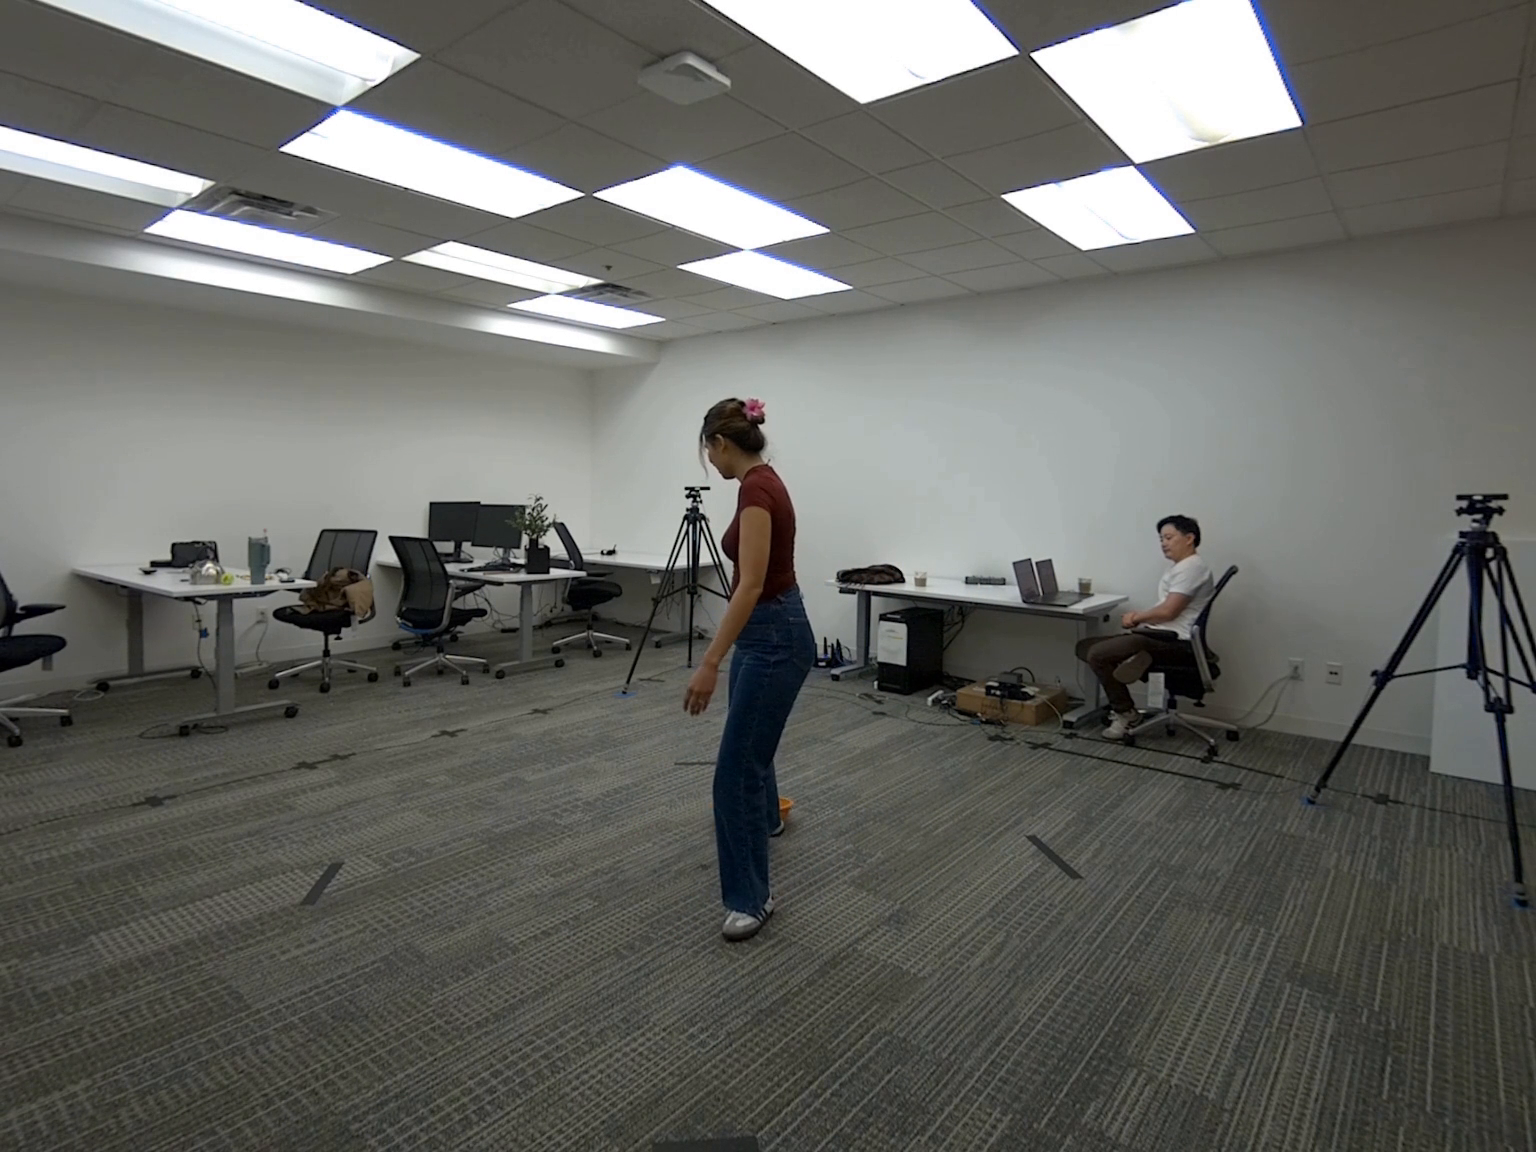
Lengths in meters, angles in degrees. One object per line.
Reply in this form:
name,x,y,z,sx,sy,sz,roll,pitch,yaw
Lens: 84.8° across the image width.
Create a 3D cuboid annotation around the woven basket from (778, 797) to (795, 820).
woven basket,-0.080,0.971,3.524,0.347,0.073,0.254,-1,-1,-9
